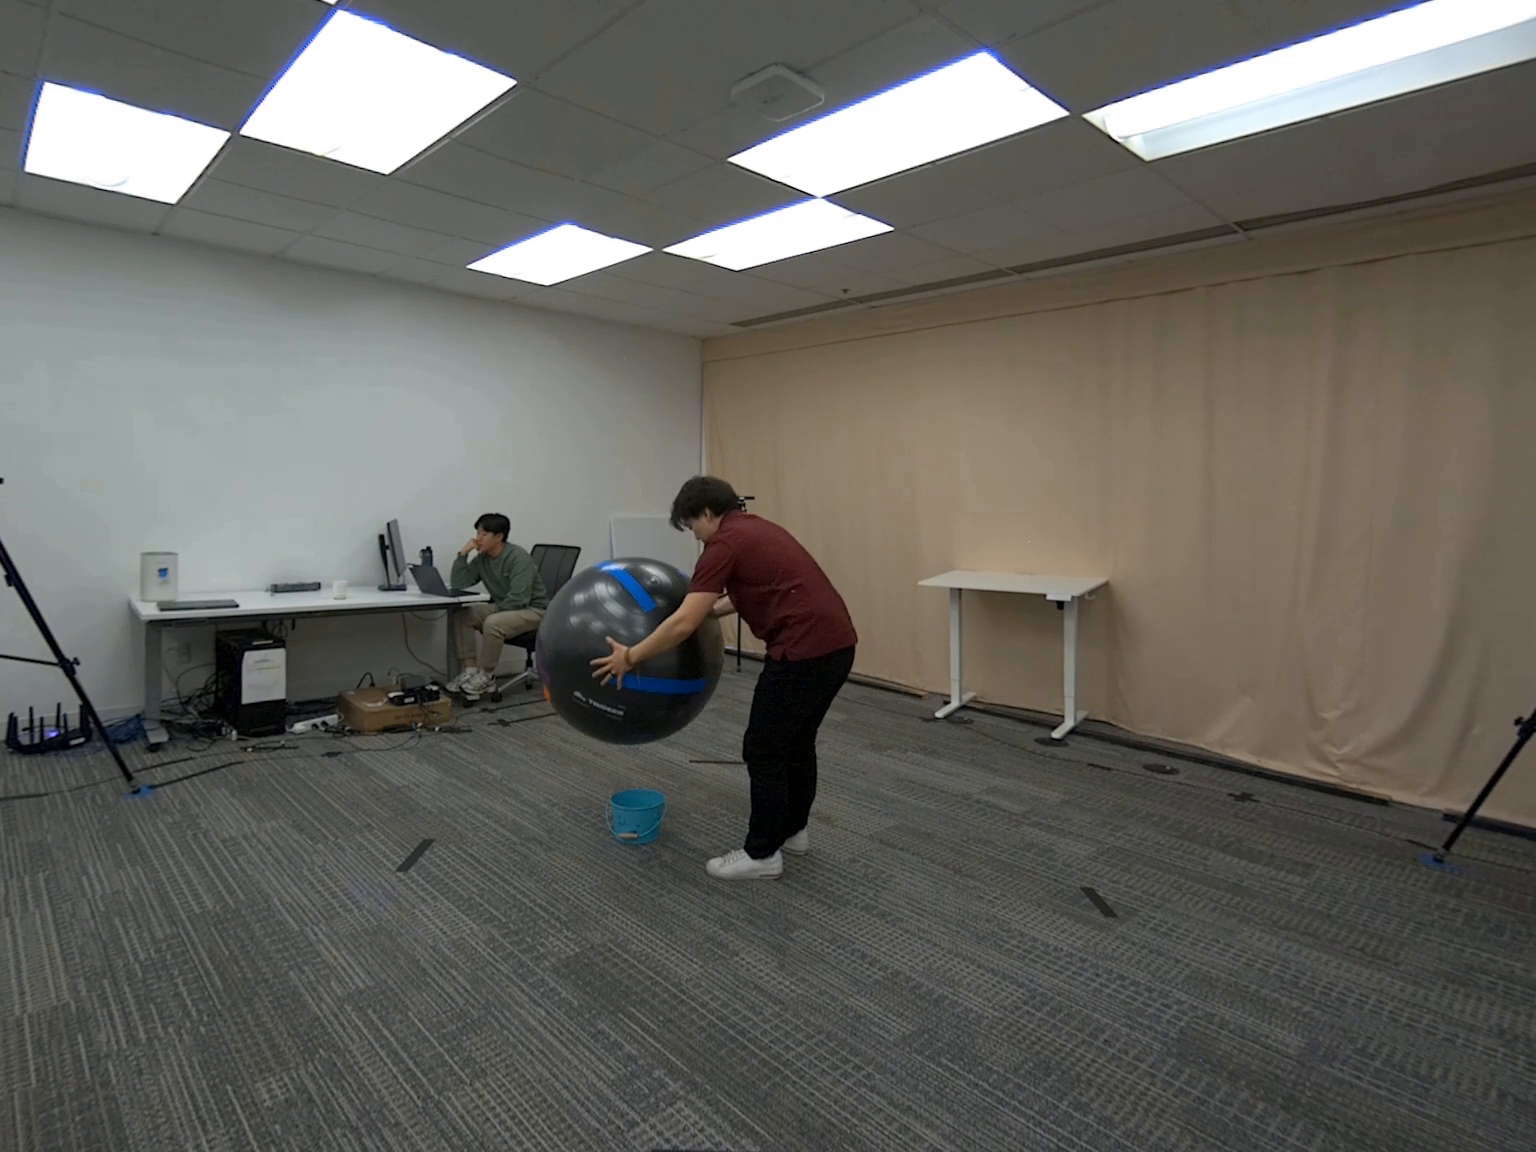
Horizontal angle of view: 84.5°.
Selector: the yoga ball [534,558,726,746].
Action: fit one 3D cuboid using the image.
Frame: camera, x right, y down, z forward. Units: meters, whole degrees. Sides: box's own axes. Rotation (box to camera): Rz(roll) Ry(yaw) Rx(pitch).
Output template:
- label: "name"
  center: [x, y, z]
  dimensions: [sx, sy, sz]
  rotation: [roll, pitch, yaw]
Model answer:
- label: "yoga ball"
  center: [-0.563, 0.303, 3.438]
  dimensions: [0.757, 0.756, 0.761]
  rotation: [1, 4, -1]
